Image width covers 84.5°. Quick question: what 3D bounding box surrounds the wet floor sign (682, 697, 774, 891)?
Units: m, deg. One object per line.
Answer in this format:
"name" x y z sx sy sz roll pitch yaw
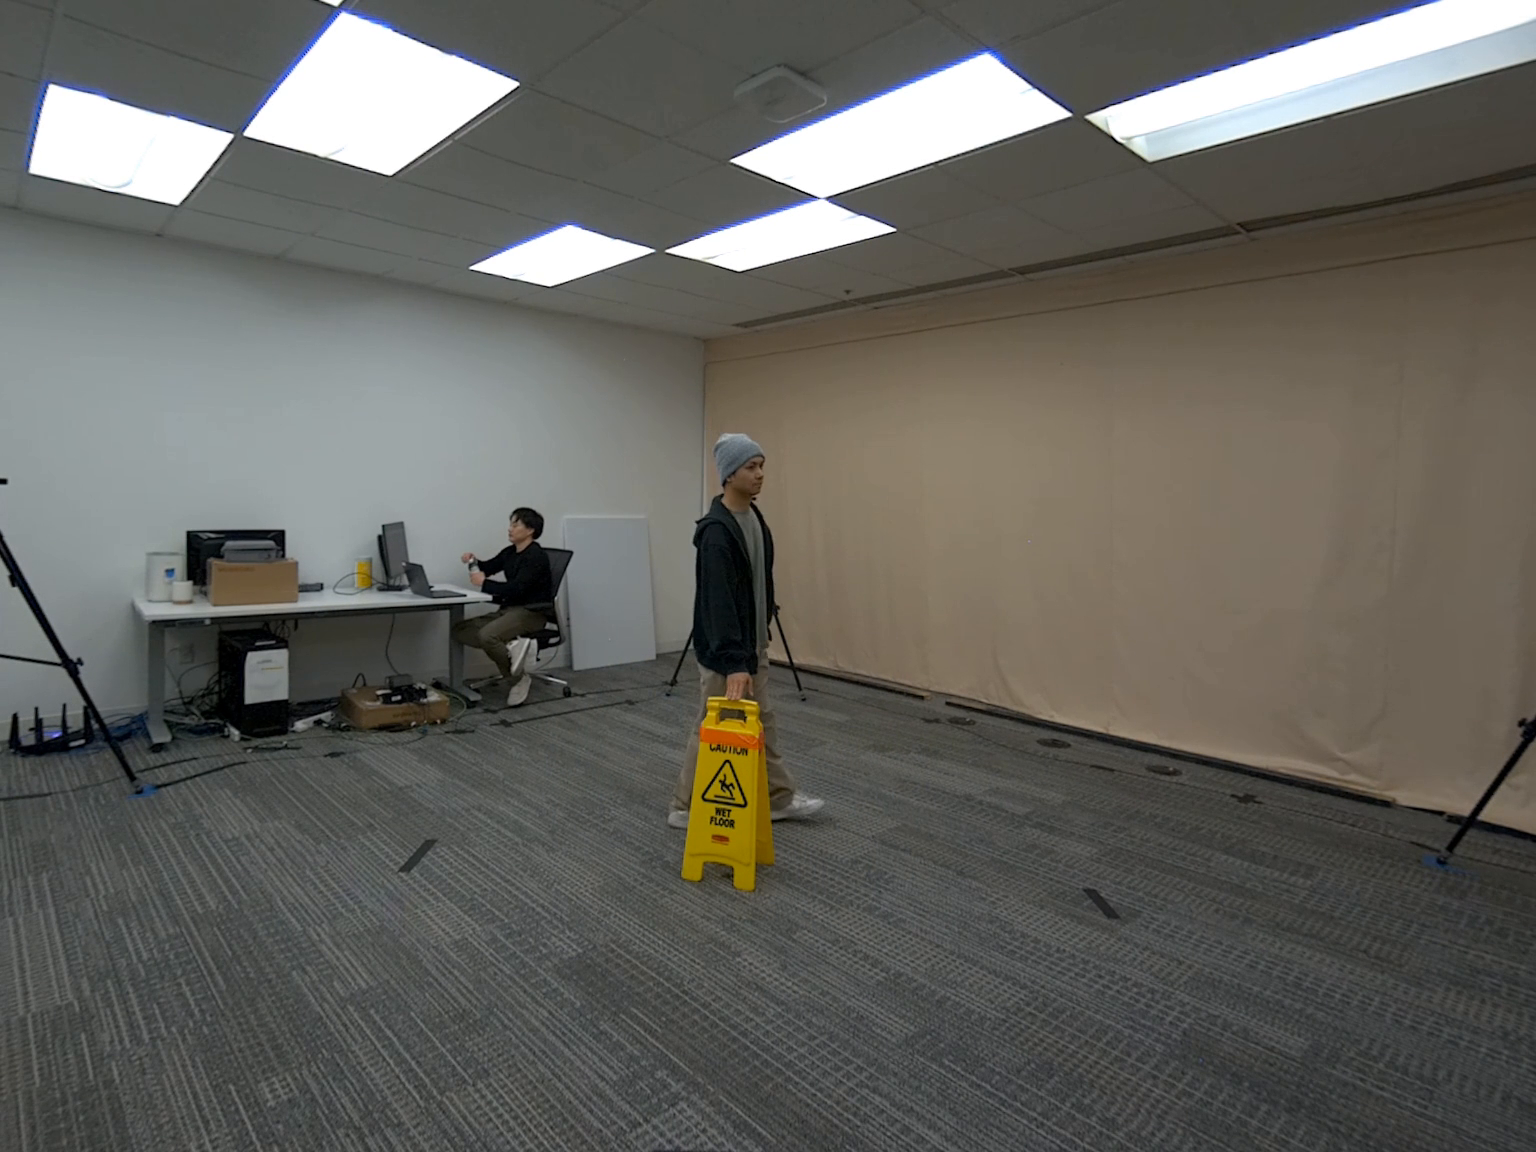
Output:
"wet floor sign" -0.148 0.783 3.138 0.287 0.644 0.286 3 4 19
